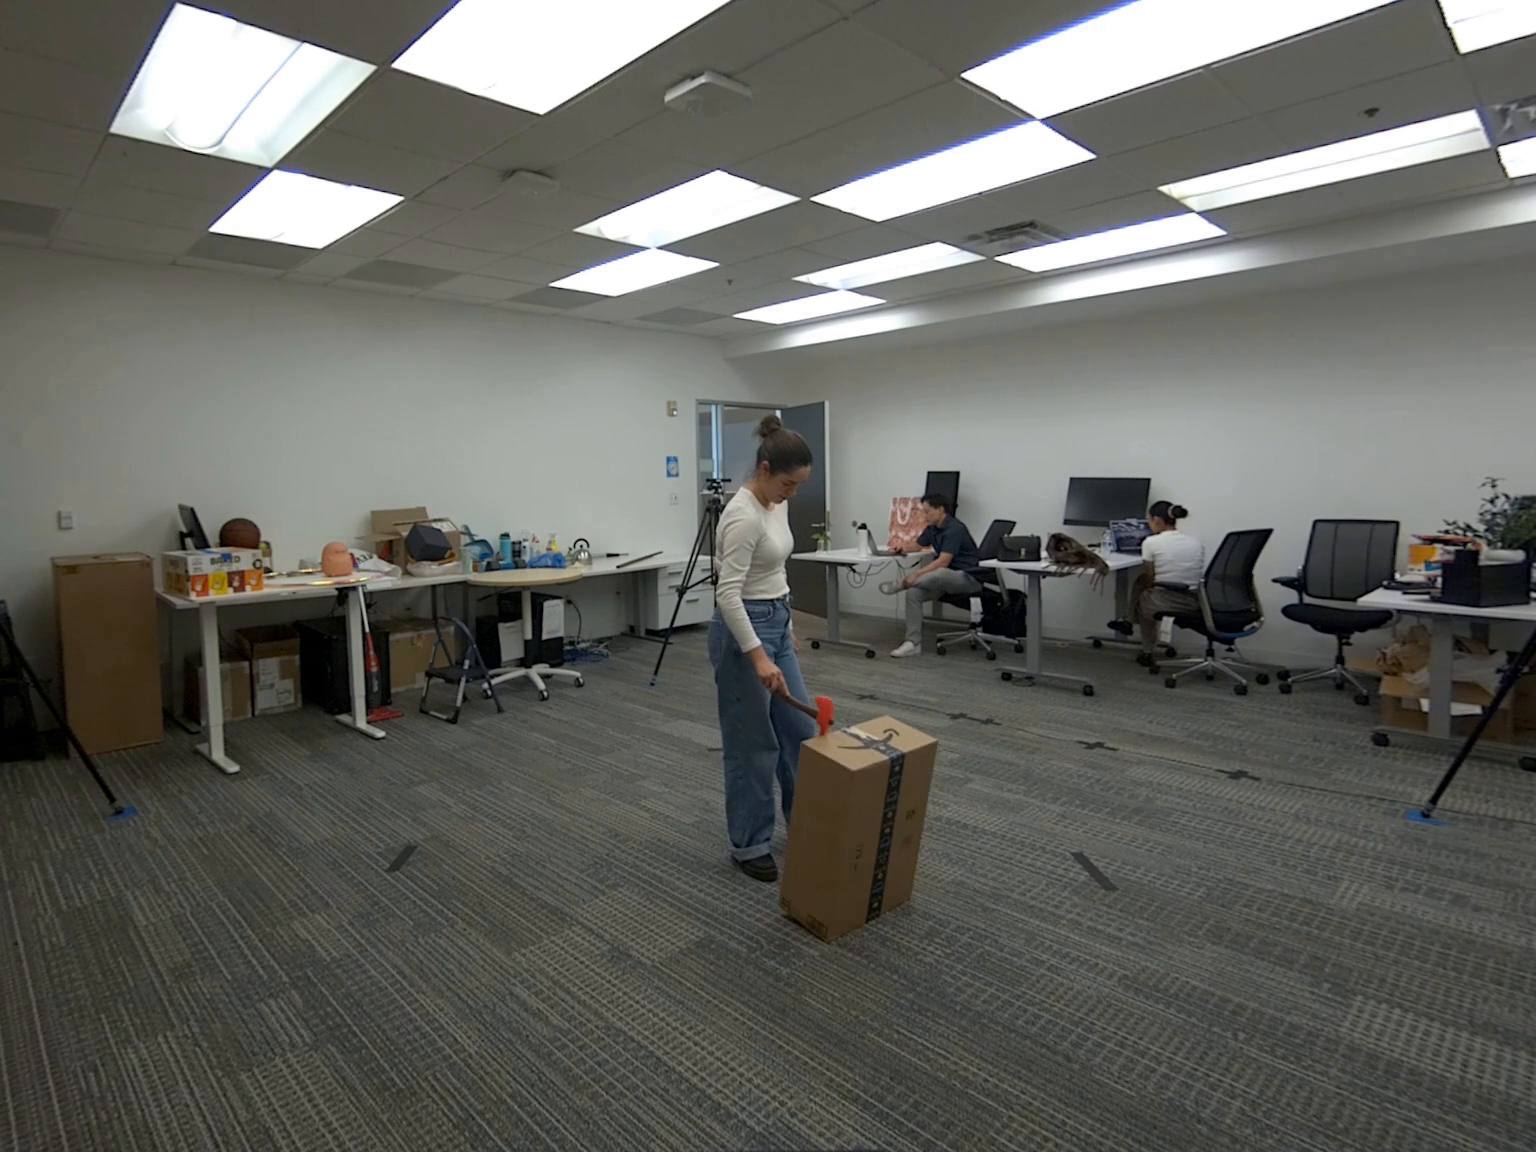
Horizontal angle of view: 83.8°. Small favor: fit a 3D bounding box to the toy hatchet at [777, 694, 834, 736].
[{"bbox_3d":[0.111,0.380,2.718,0.278,0.130,0.029,43,32,25],"label":"toy hatchet"}]
